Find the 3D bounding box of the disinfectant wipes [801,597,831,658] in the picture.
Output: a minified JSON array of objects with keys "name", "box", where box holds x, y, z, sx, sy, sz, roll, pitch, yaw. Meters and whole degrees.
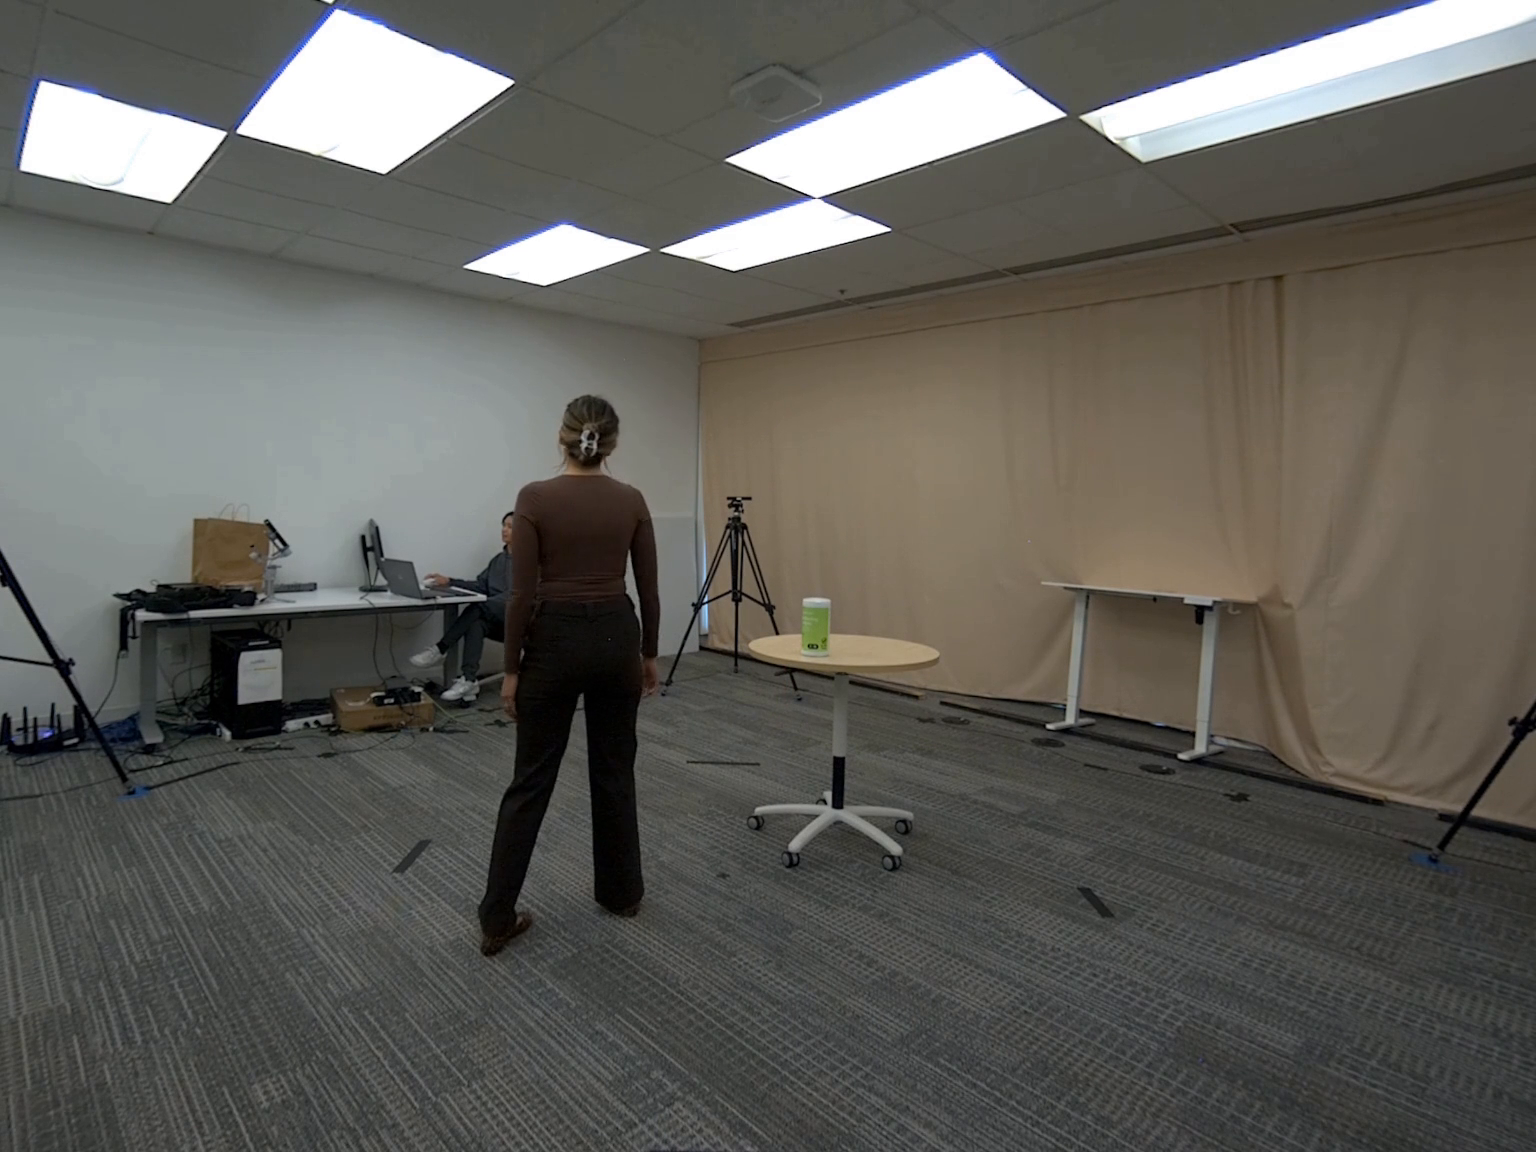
[{"name":"disinfectant wipes","box":[0.181,0.199,3.235,0.118,0.217,0.118,0,3,-1]}]
